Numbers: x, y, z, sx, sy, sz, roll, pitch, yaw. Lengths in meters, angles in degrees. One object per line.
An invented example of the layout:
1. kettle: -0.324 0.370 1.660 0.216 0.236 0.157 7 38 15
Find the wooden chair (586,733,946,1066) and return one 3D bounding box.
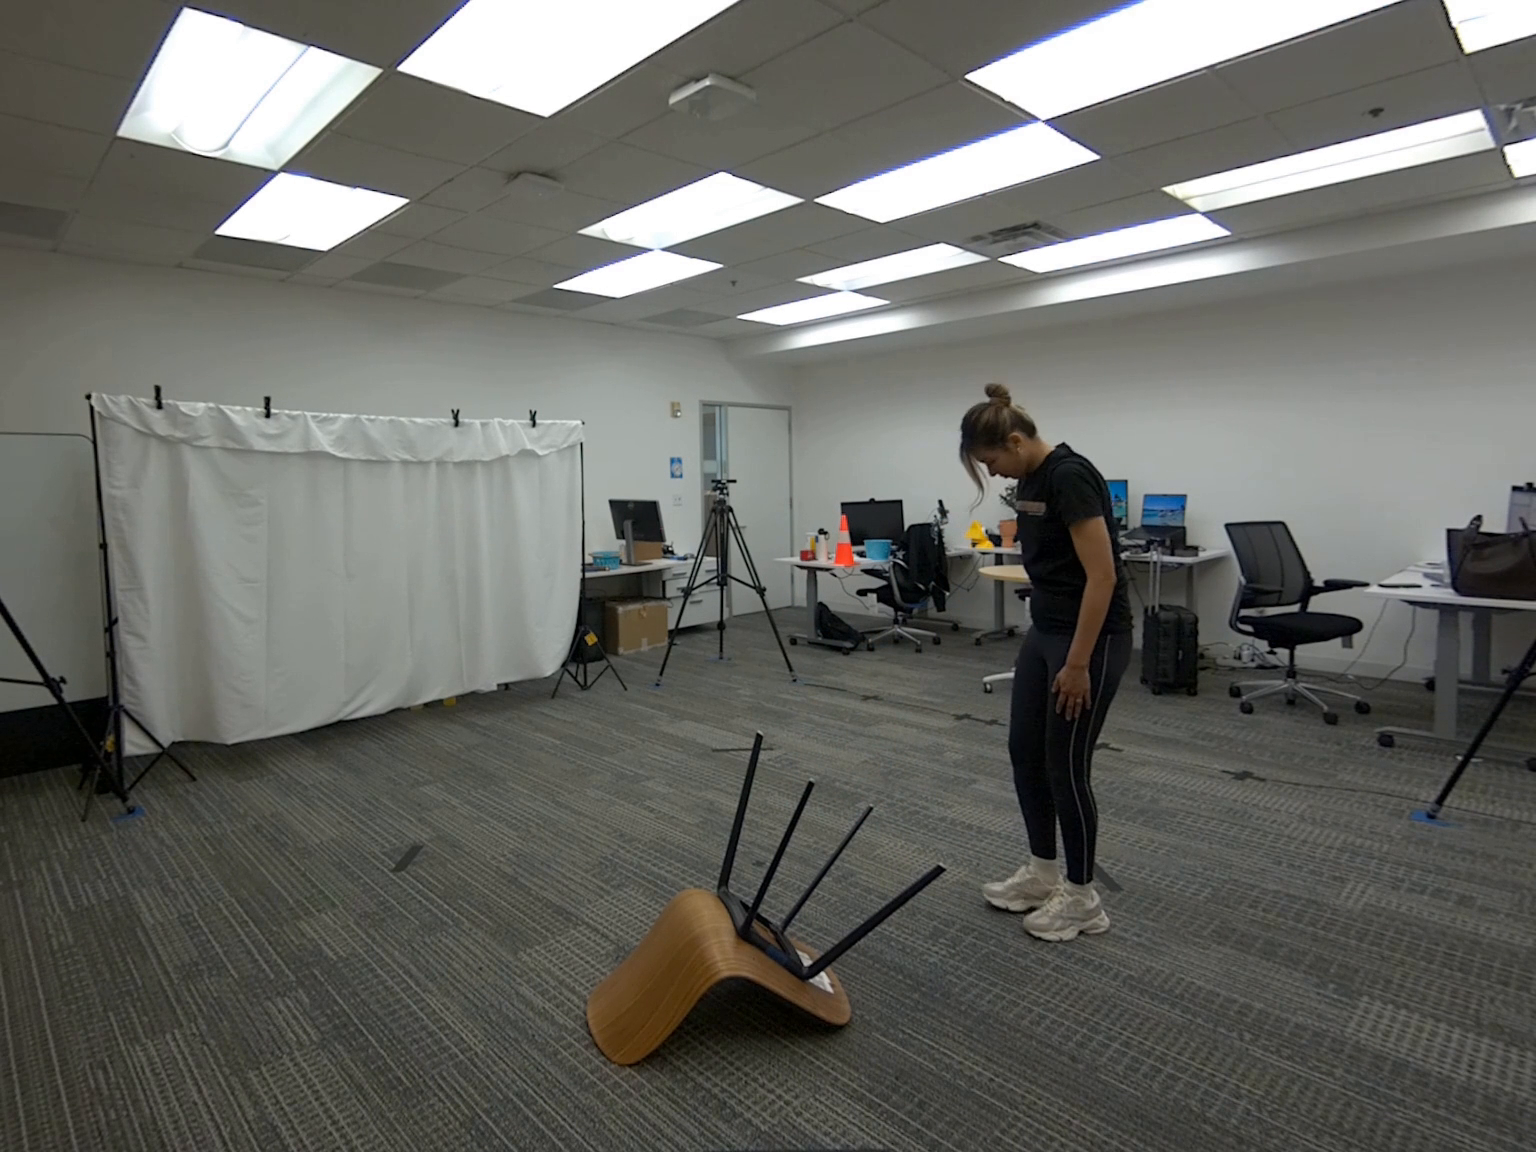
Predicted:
1. wooden chair: -0.005 0.967 2.315 0.513 0.878 0.487 39 -7 -15
